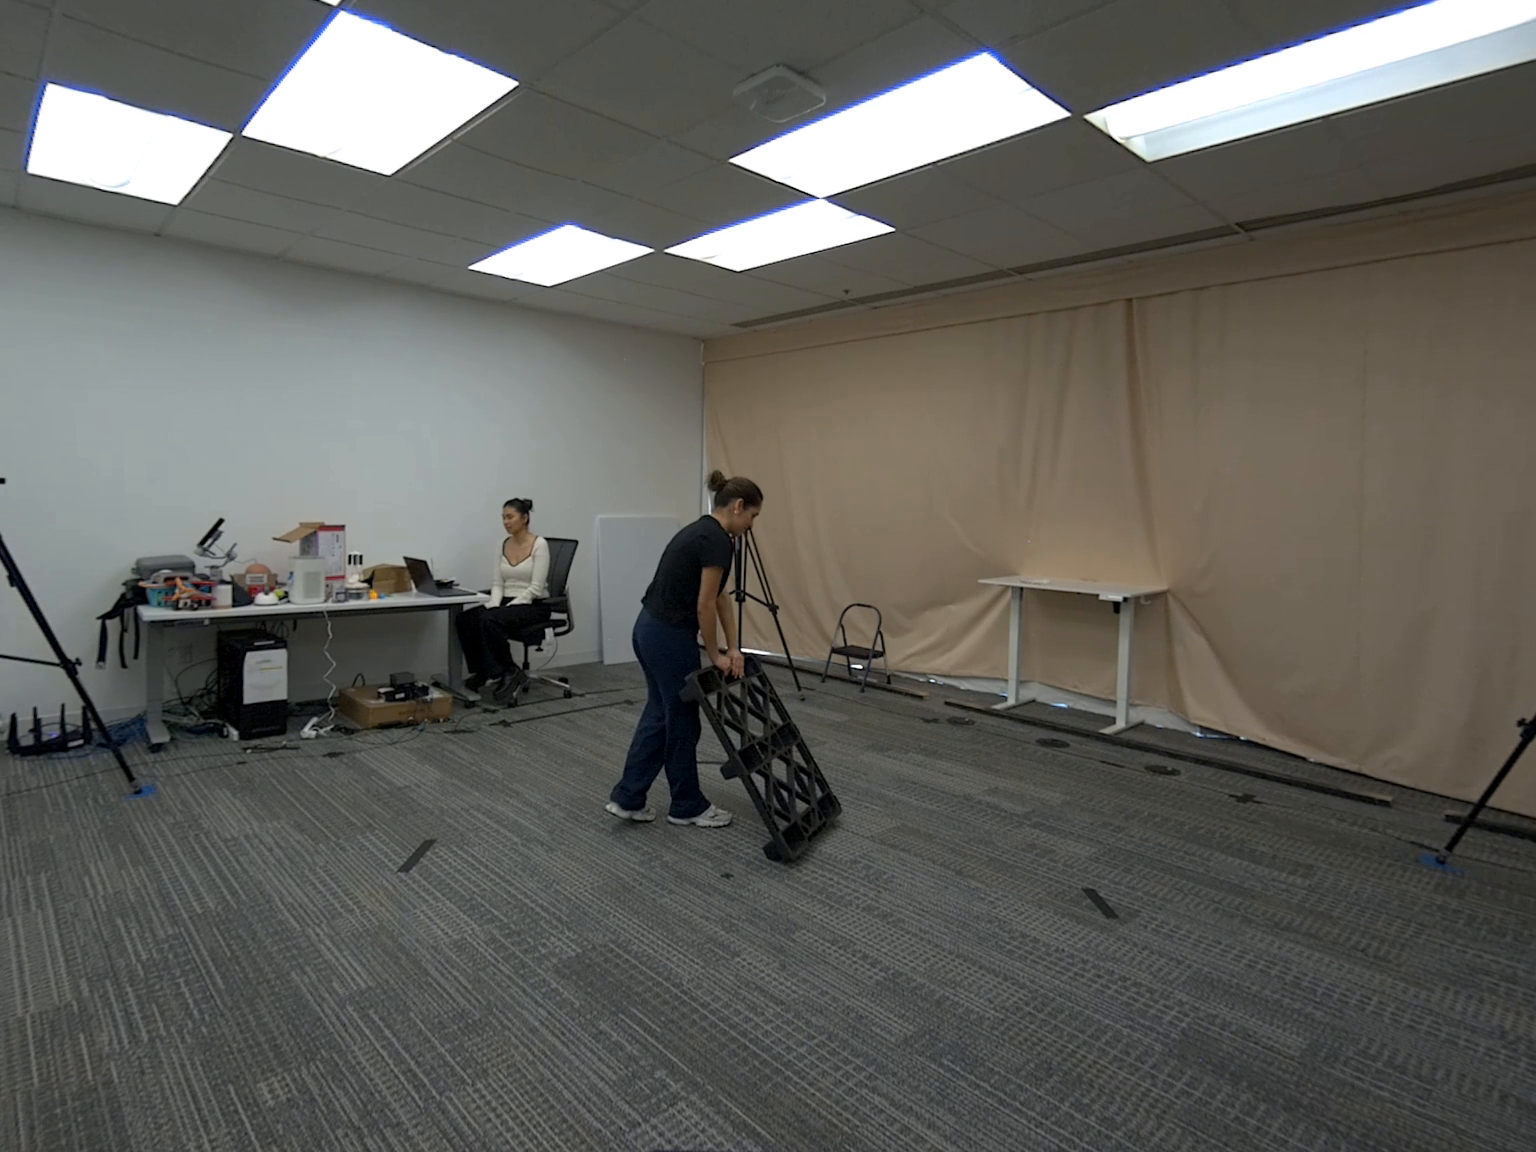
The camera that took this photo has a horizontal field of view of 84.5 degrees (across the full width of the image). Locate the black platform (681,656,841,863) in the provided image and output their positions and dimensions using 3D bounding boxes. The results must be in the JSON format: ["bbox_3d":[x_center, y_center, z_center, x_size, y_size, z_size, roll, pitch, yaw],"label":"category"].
[{"bbox_3d":[-0.046,0.741,3.502,0.144,0.815,0.595,-35,-11,22],"label":"black platform"}]
